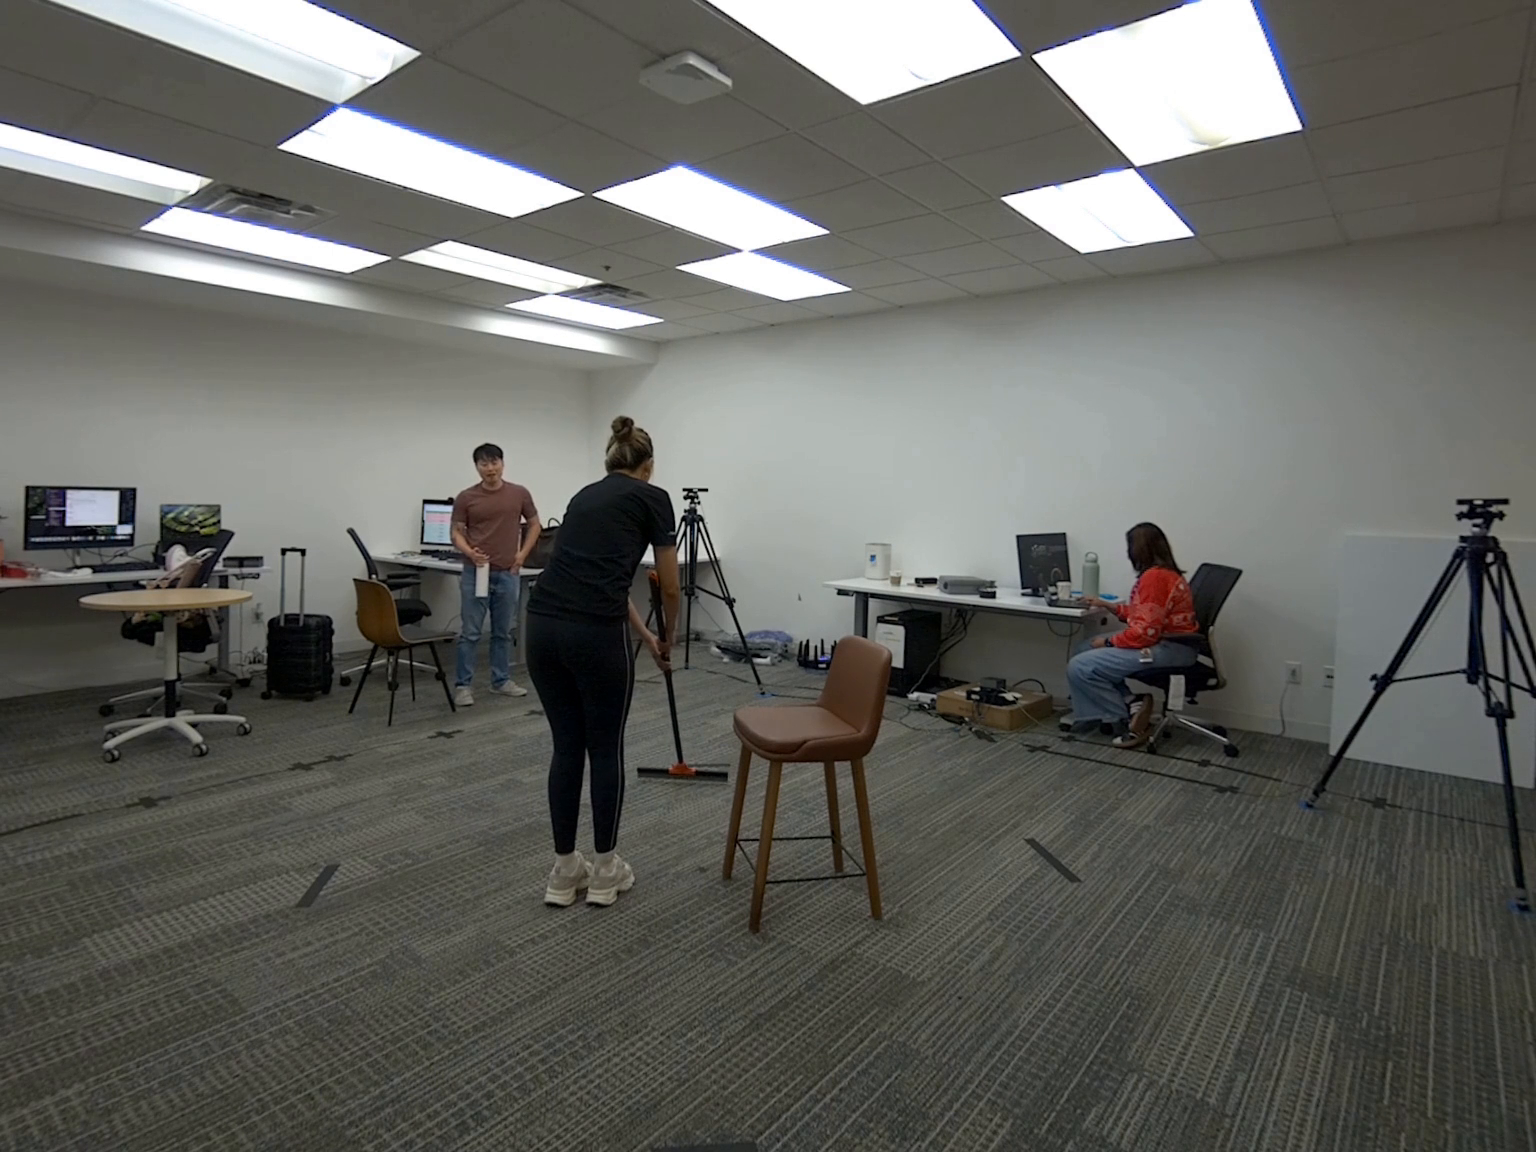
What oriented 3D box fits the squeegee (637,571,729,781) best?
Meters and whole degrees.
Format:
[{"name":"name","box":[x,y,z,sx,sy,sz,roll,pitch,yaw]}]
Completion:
[{"name":"squeegee","box":[-0.431,0.465,3.501,0.440,0.054,1.493,4,-40,4]}]
